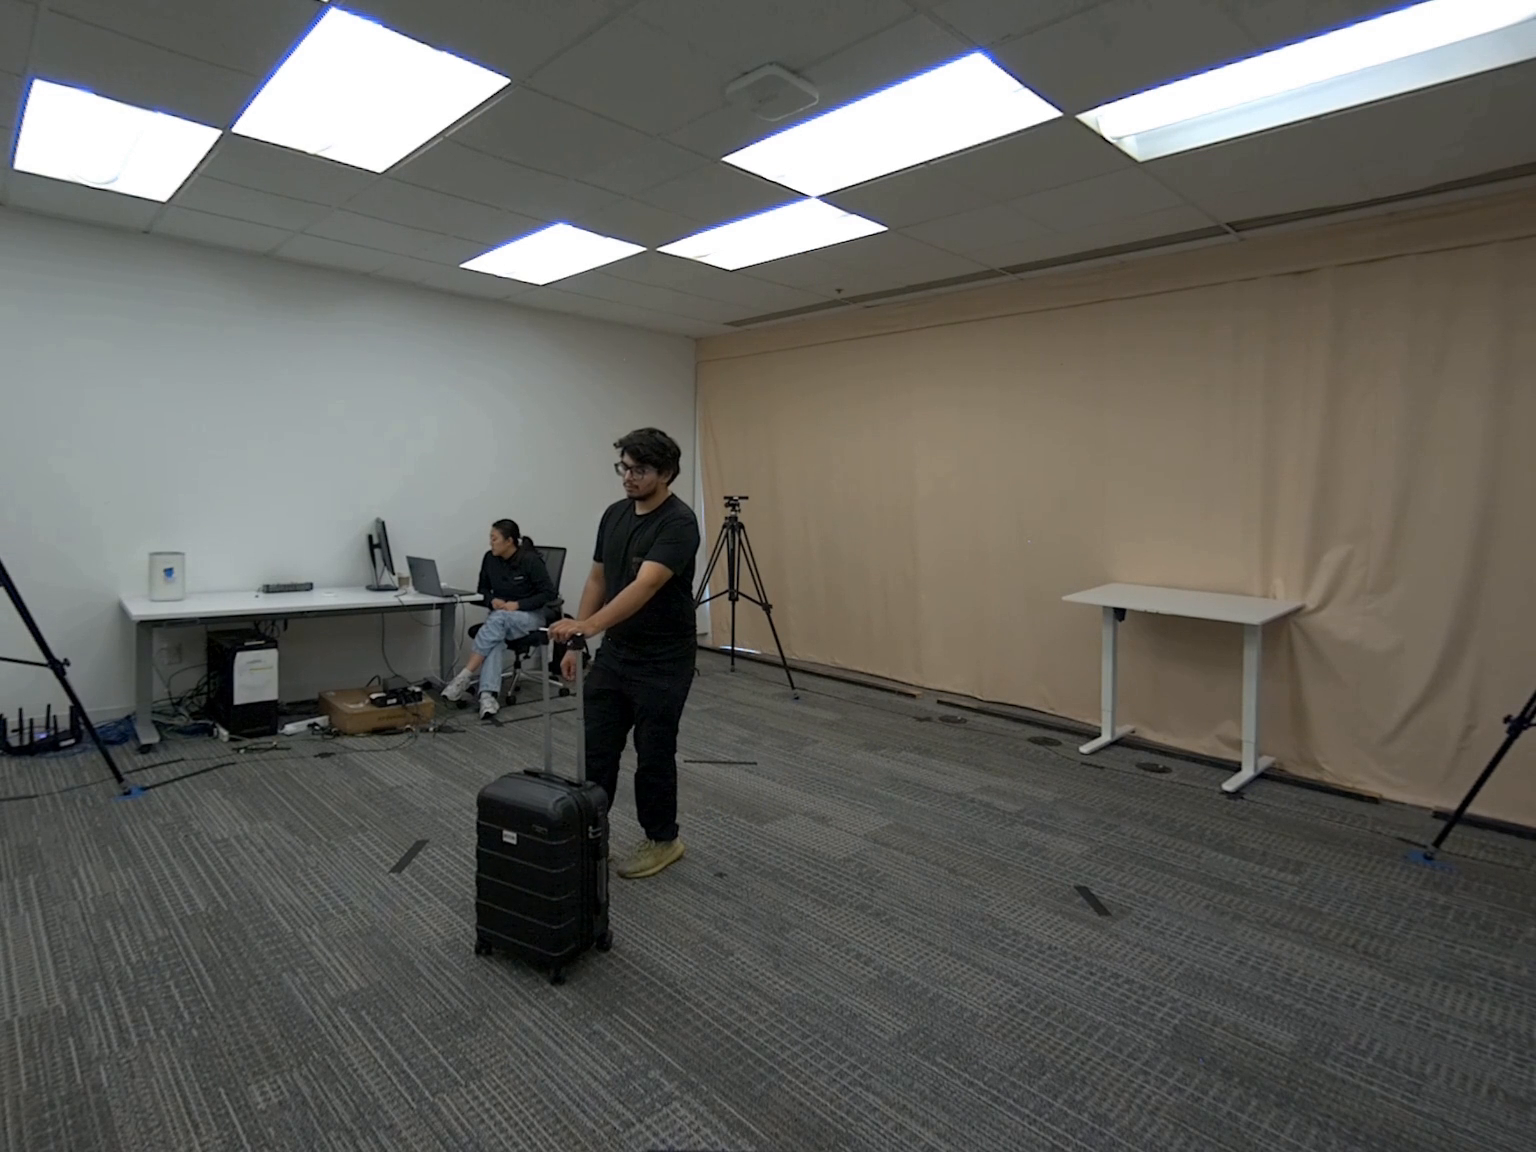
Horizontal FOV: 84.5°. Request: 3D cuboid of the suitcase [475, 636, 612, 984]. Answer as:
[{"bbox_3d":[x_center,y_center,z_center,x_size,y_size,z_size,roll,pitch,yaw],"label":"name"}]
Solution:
[{"bbox_3d":[-0.685,0.679,2.483,0.392,0.972,0.253,4,9,27],"label":"suitcase"}]
